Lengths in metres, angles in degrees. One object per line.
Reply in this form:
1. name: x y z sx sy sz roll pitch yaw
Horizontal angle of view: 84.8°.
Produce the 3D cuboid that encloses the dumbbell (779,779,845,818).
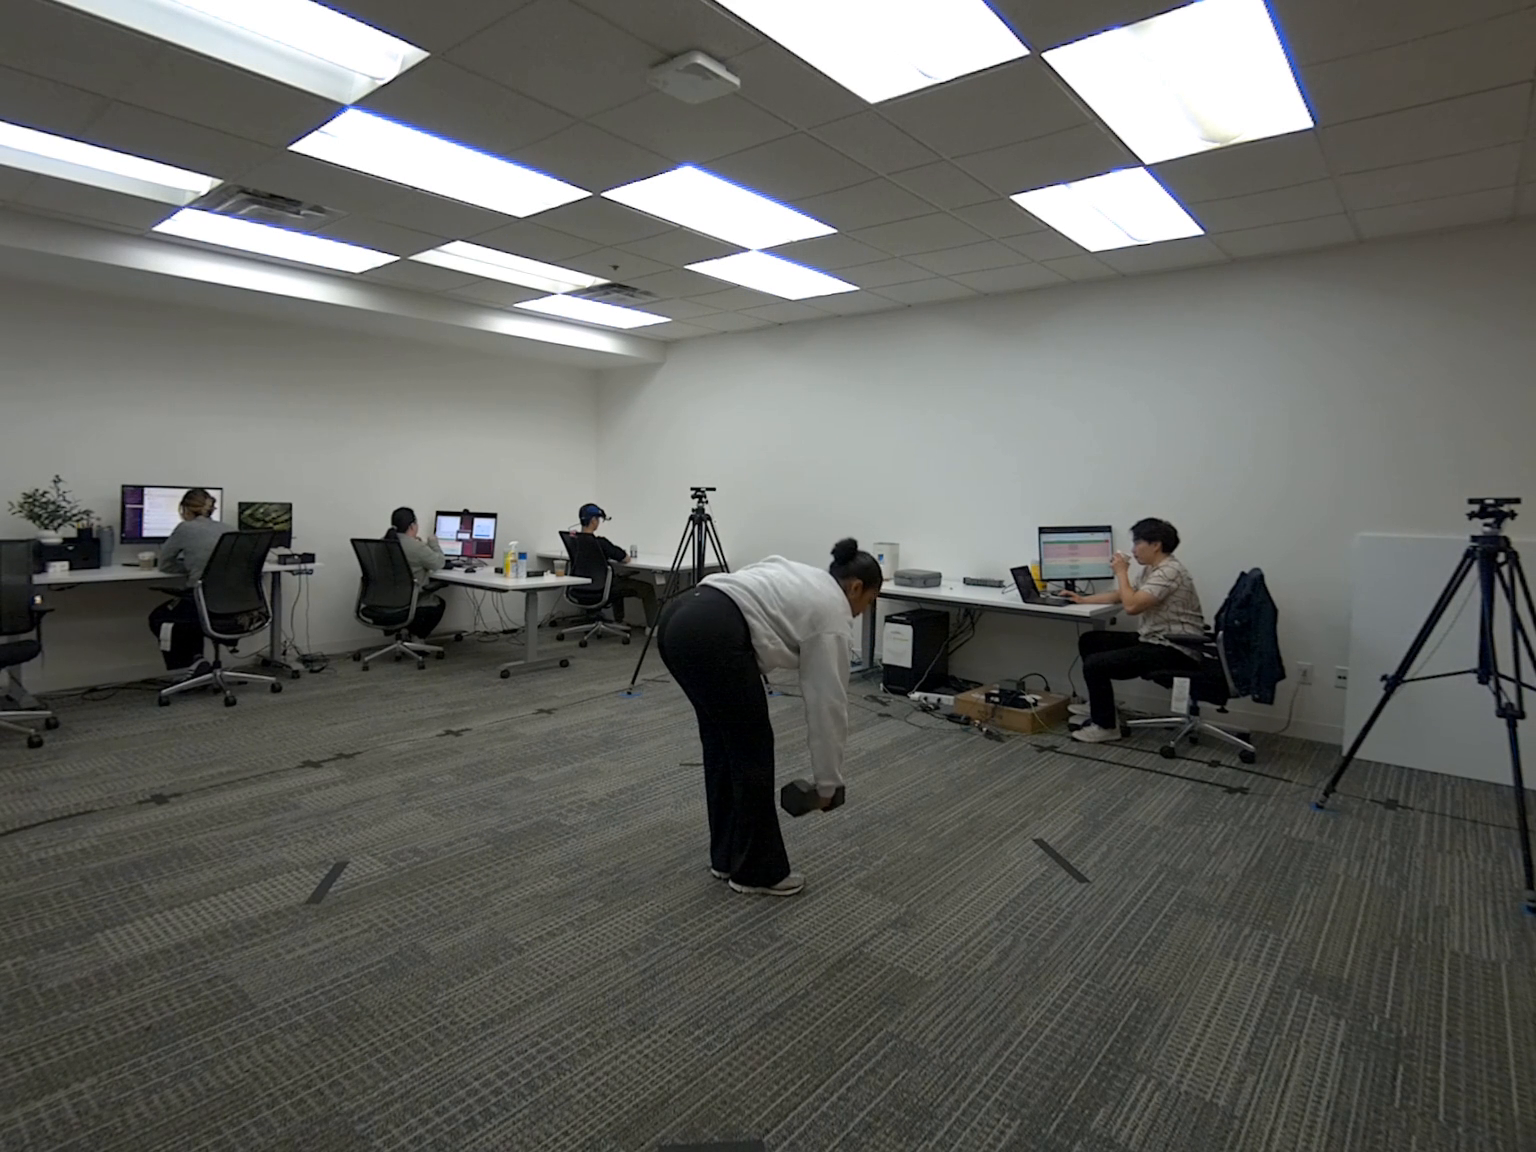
1. dumbbell: 0.150 0.758 2.941 0.111 0.124 0.283 -7 -12 33
